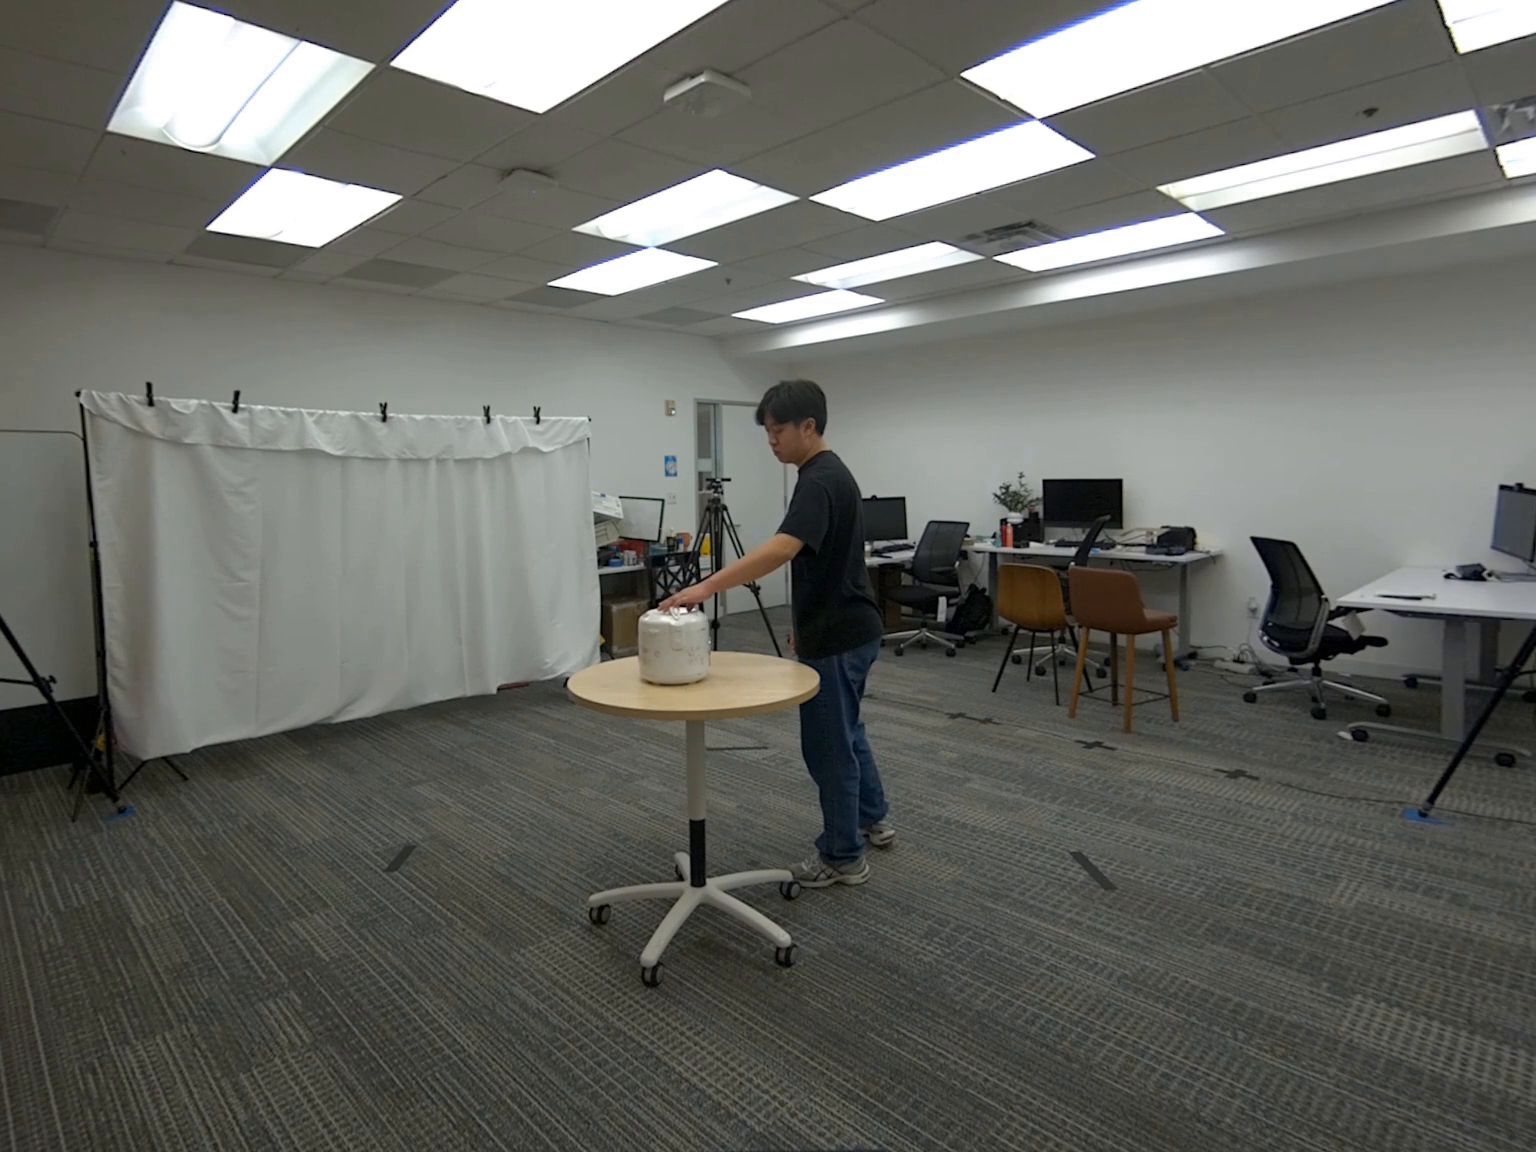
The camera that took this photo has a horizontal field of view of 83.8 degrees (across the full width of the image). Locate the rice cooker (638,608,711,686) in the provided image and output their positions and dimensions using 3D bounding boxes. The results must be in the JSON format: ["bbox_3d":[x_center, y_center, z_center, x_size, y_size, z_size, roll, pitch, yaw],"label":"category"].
[{"bbox_3d":[-0.279,0.195,2.581,0.215,0.232,0.224,-2,5,-10],"label":"rice cooker"}]
